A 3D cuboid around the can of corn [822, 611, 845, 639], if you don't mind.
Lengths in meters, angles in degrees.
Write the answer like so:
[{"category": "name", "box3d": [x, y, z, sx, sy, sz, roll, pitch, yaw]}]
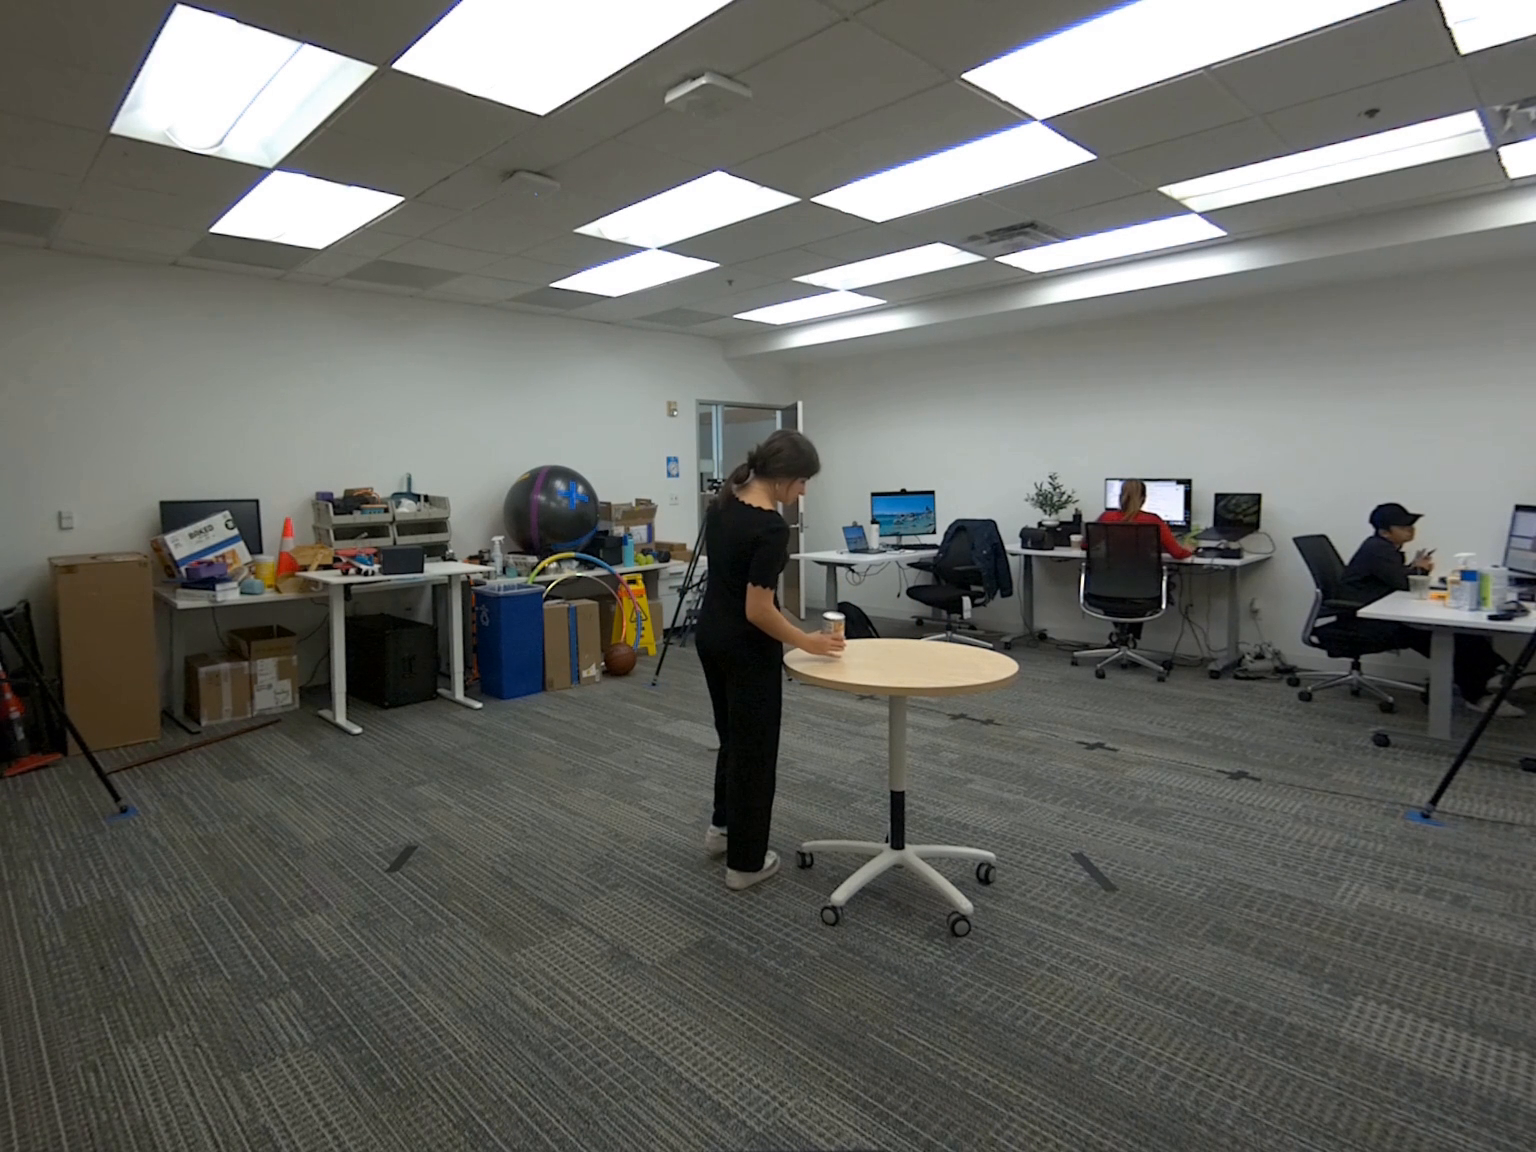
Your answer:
[{"category": "can of corn", "box3d": [0.223, 0.187, 2.879, 0.074, 0.110, 0.075, 1, 14, -2]}]
